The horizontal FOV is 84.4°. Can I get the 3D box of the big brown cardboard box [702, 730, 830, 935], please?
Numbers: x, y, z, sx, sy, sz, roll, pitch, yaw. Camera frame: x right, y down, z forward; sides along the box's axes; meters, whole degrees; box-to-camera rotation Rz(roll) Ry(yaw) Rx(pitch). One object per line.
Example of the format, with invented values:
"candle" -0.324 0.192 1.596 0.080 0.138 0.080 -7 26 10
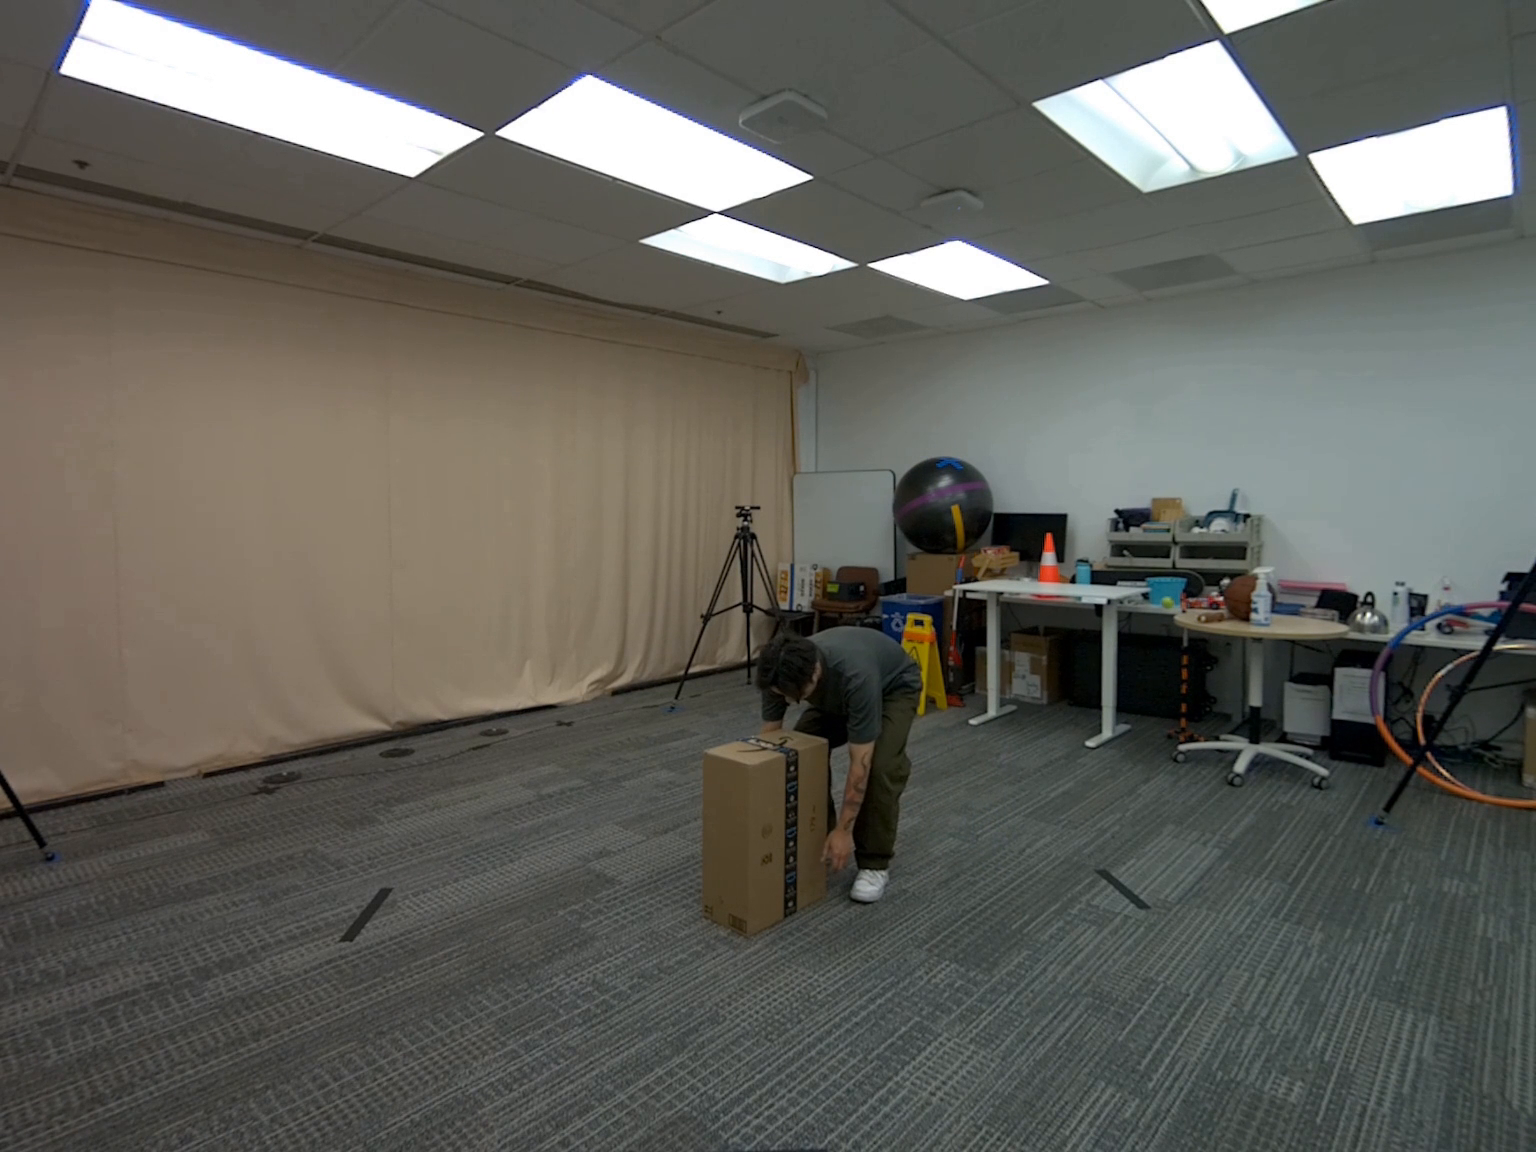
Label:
"big brown cardboard box" -0.004 0.863 2.919 0.241 0.588 0.404 2 3 44
